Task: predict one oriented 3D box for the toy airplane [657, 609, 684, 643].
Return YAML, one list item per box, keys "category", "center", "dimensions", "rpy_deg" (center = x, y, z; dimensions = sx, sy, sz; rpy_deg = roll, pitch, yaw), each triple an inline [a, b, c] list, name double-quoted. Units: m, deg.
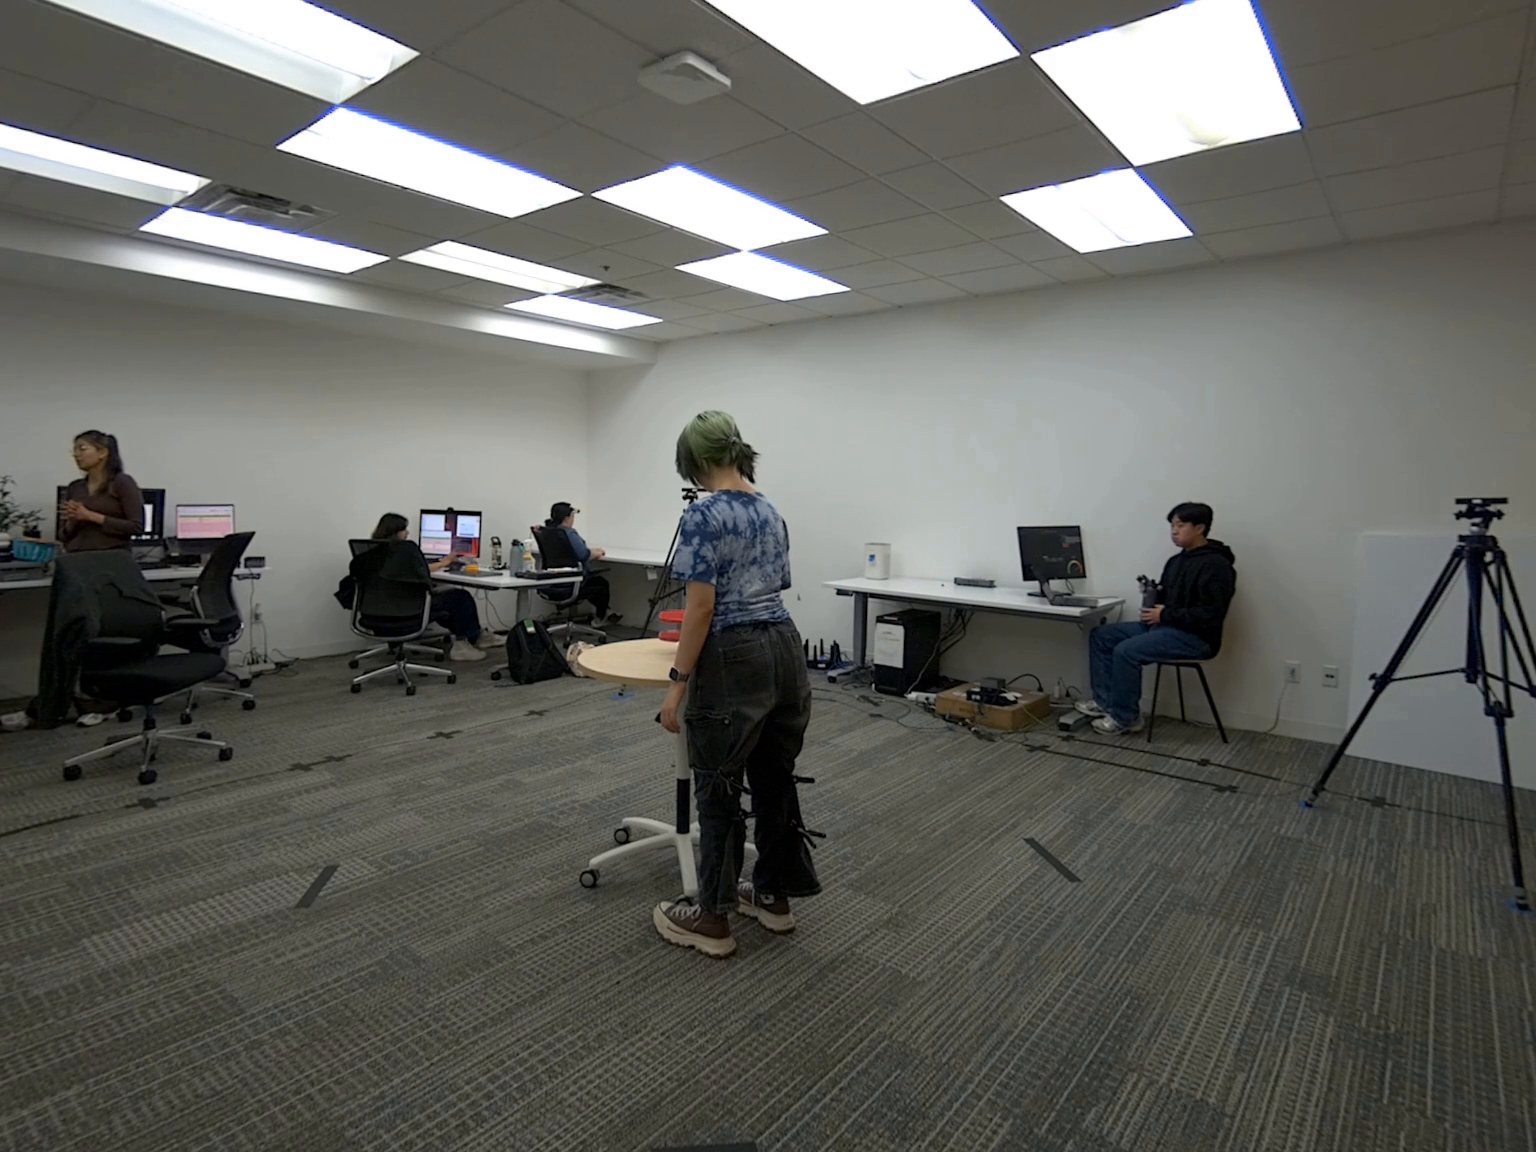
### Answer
- category: "toy airplane"
  center: [-0.261, 0.206, 3.099]
  dimensions: [0.244, 0.156, 0.268]
  rpy_deg: [-2, 7, -33]
